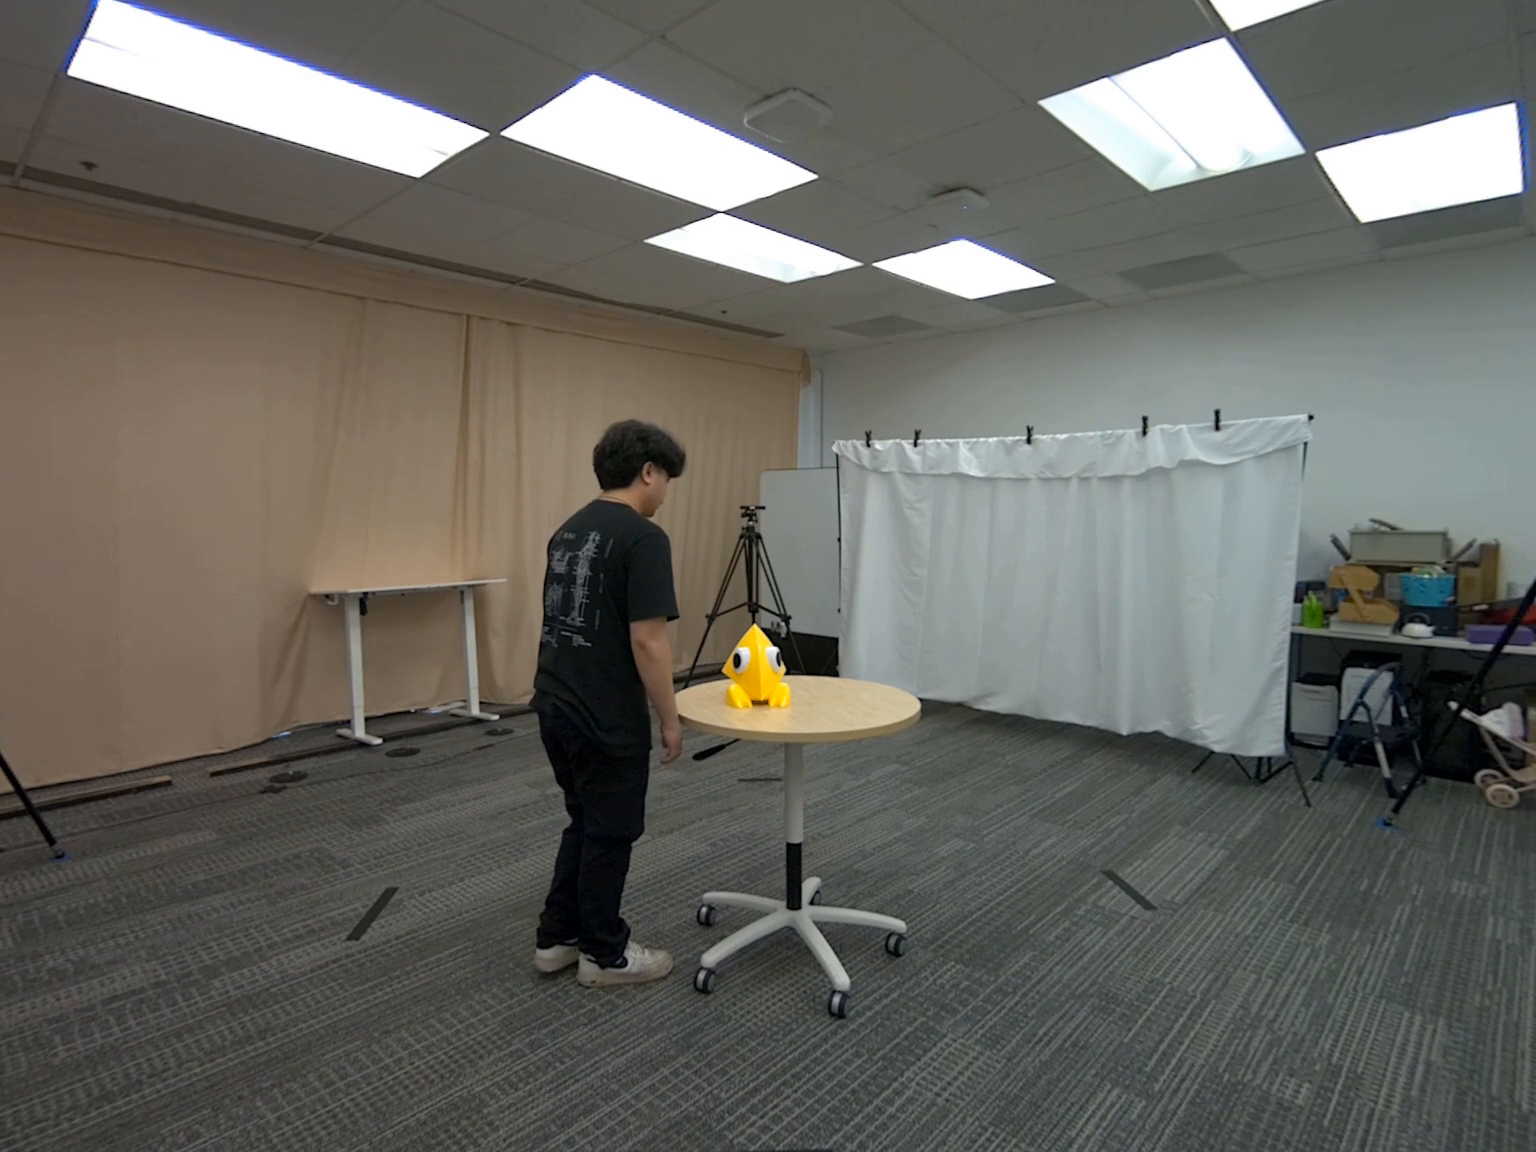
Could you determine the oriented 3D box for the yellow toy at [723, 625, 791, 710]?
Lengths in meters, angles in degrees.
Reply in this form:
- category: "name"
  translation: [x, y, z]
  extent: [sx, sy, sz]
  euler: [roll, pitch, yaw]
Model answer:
- category: "yellow toy"
  translation: [-0.025, 0.271, 2.577]
  extent: [0.203, 0.230, 0.194]
  euler: [-1, 2, -7]
